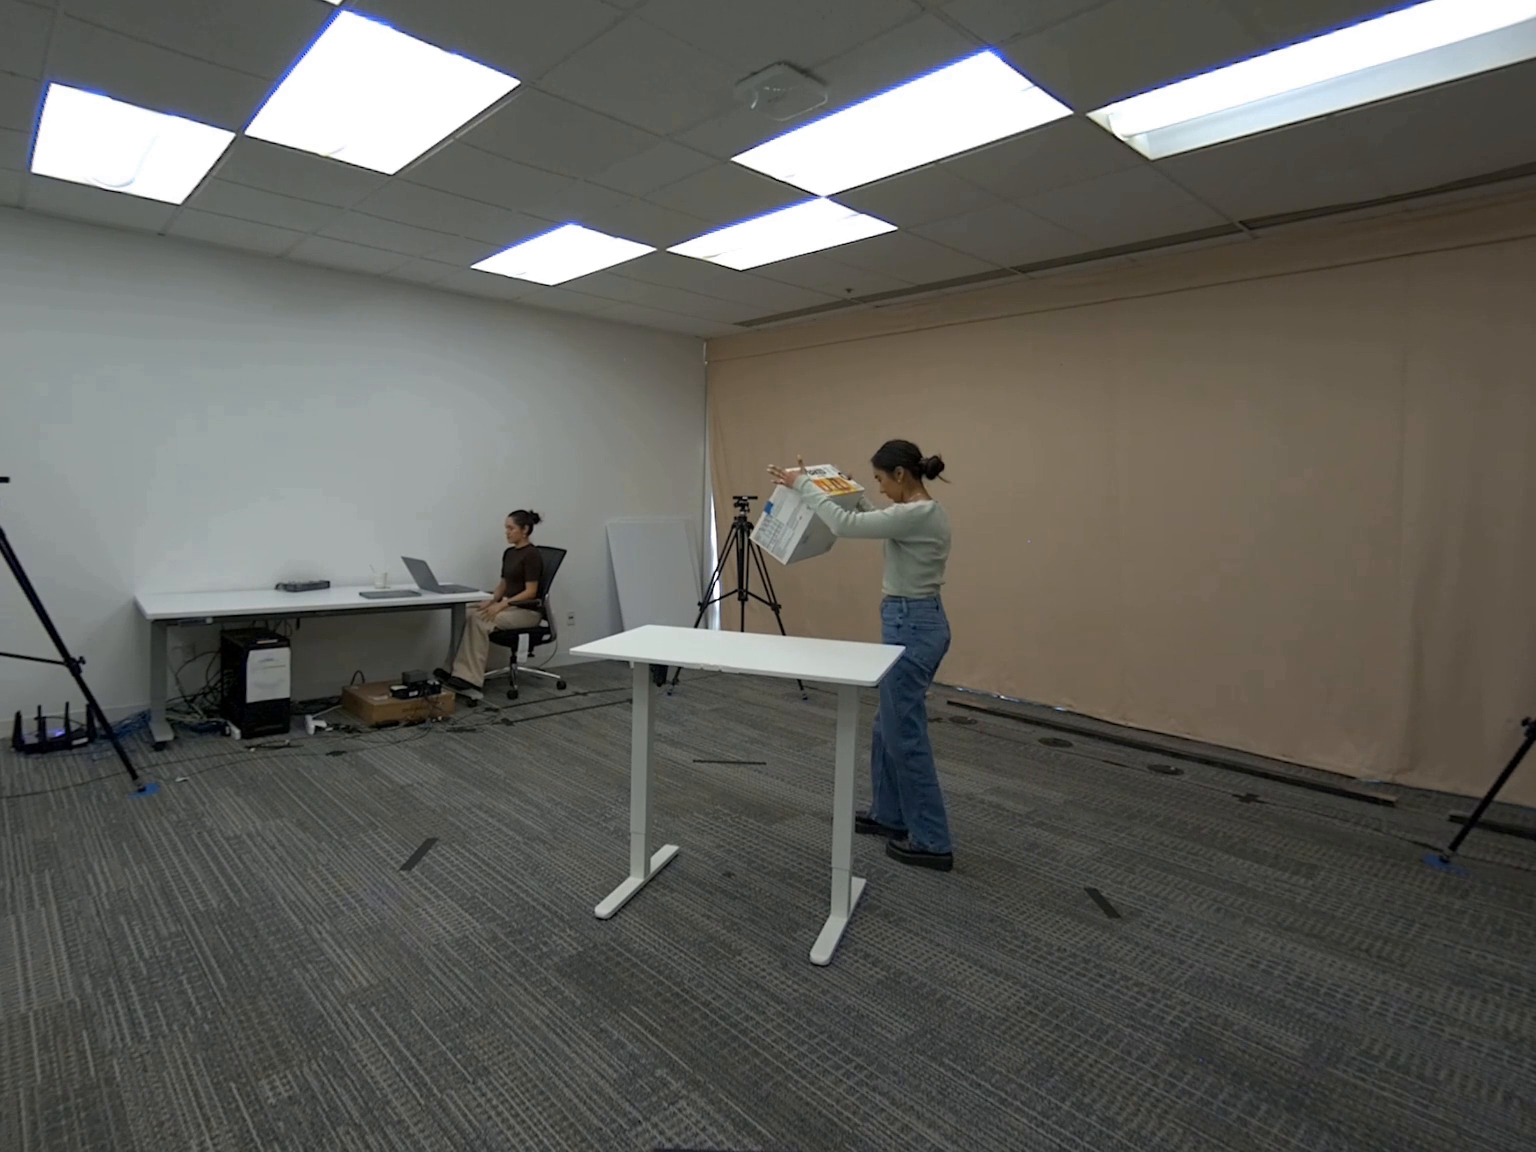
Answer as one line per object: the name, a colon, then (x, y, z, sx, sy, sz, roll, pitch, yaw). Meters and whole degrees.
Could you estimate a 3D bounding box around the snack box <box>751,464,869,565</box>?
snack box: (0.164, -0.263, 3.550, 0.210, 0.338, 0.399, 38, 26, 20)
